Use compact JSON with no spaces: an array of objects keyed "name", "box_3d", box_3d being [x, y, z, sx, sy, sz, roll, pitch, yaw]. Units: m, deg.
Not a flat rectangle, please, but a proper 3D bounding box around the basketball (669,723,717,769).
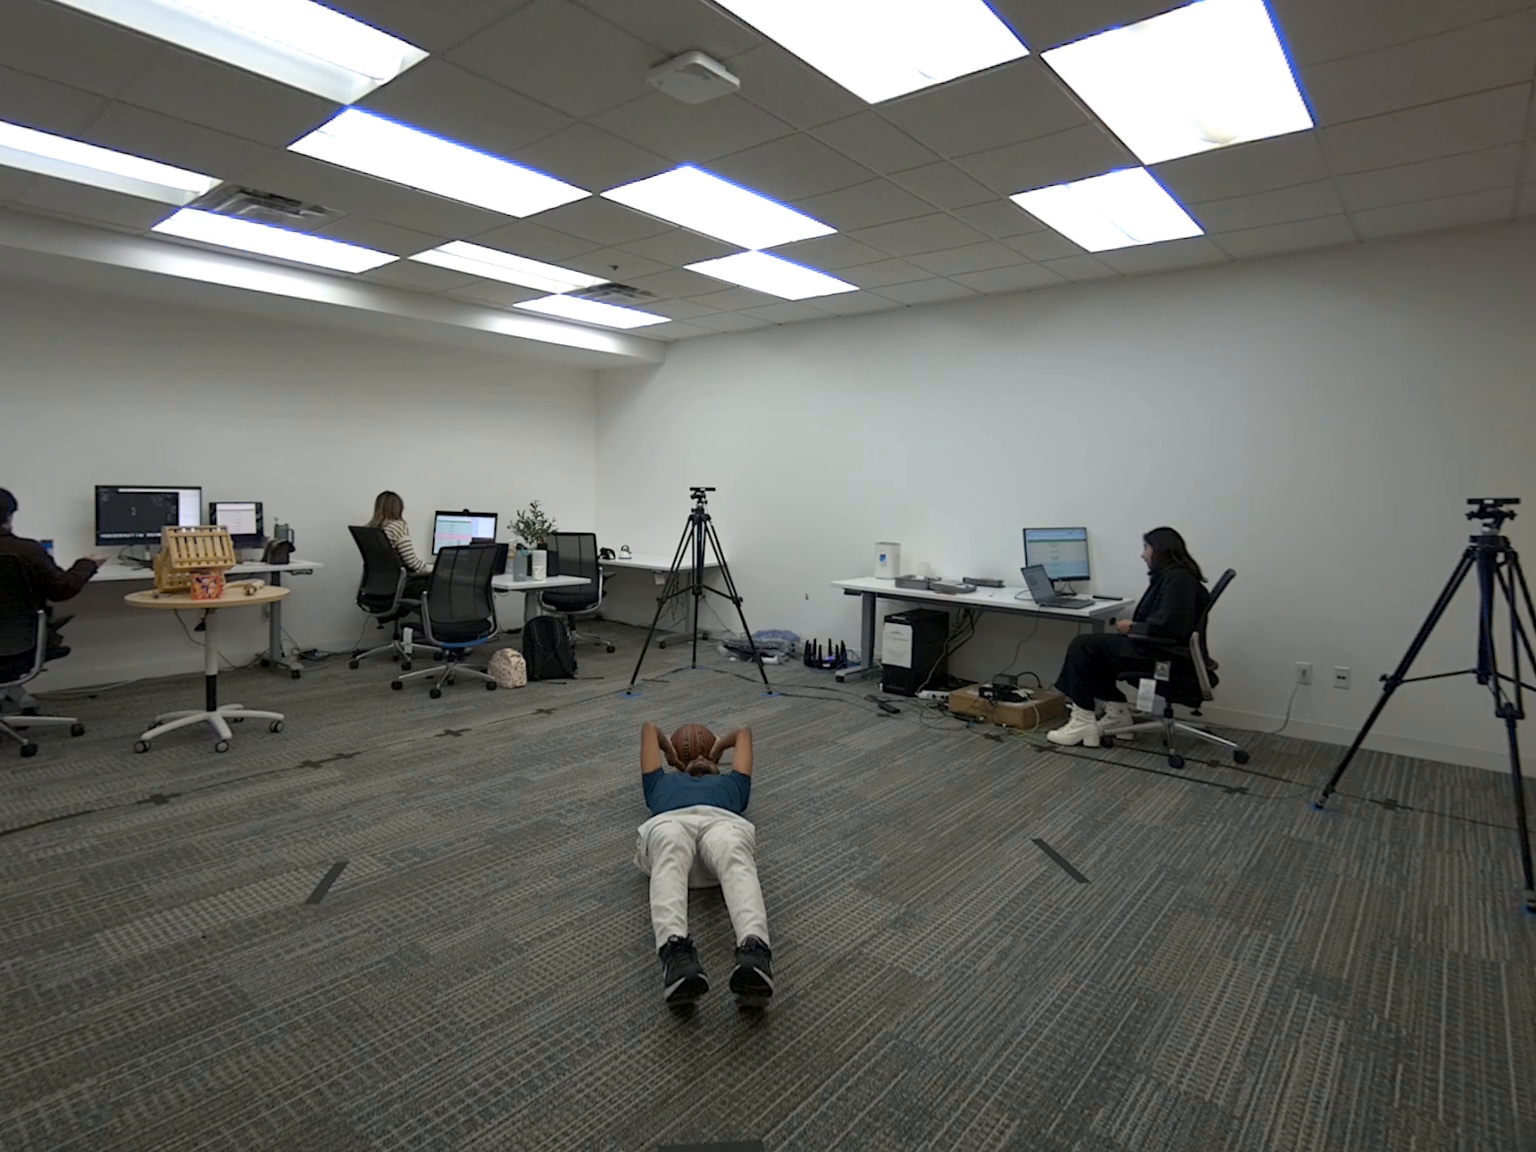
[{"name":"basketball","box_3d":[-0.373,0.824,4.114,0.235,0.235,0.237,1,4,-2]}]
